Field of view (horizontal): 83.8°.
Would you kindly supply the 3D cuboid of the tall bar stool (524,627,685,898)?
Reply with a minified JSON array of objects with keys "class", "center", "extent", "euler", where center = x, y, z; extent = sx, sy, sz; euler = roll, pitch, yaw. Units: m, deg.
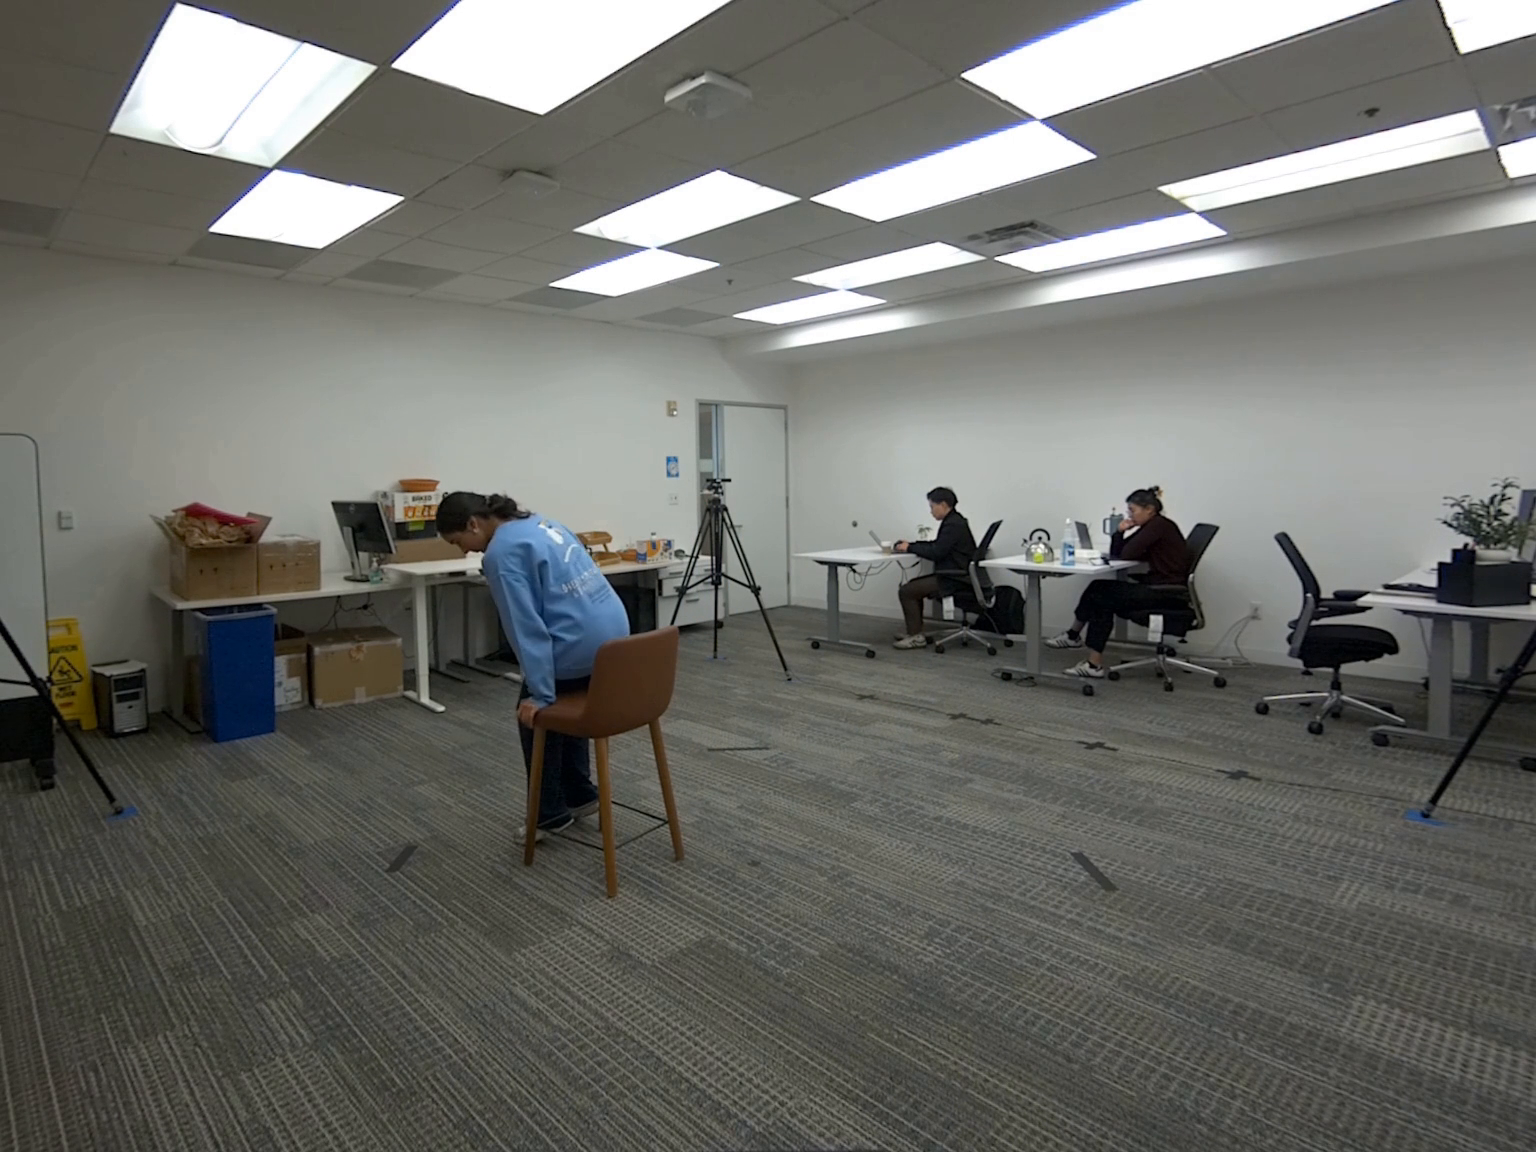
[{"class":"tall bar stool","center":[-0.600,0.617,3.115],"extent":[0.481,0.886,0.445],"euler":[4,6,37]}]
